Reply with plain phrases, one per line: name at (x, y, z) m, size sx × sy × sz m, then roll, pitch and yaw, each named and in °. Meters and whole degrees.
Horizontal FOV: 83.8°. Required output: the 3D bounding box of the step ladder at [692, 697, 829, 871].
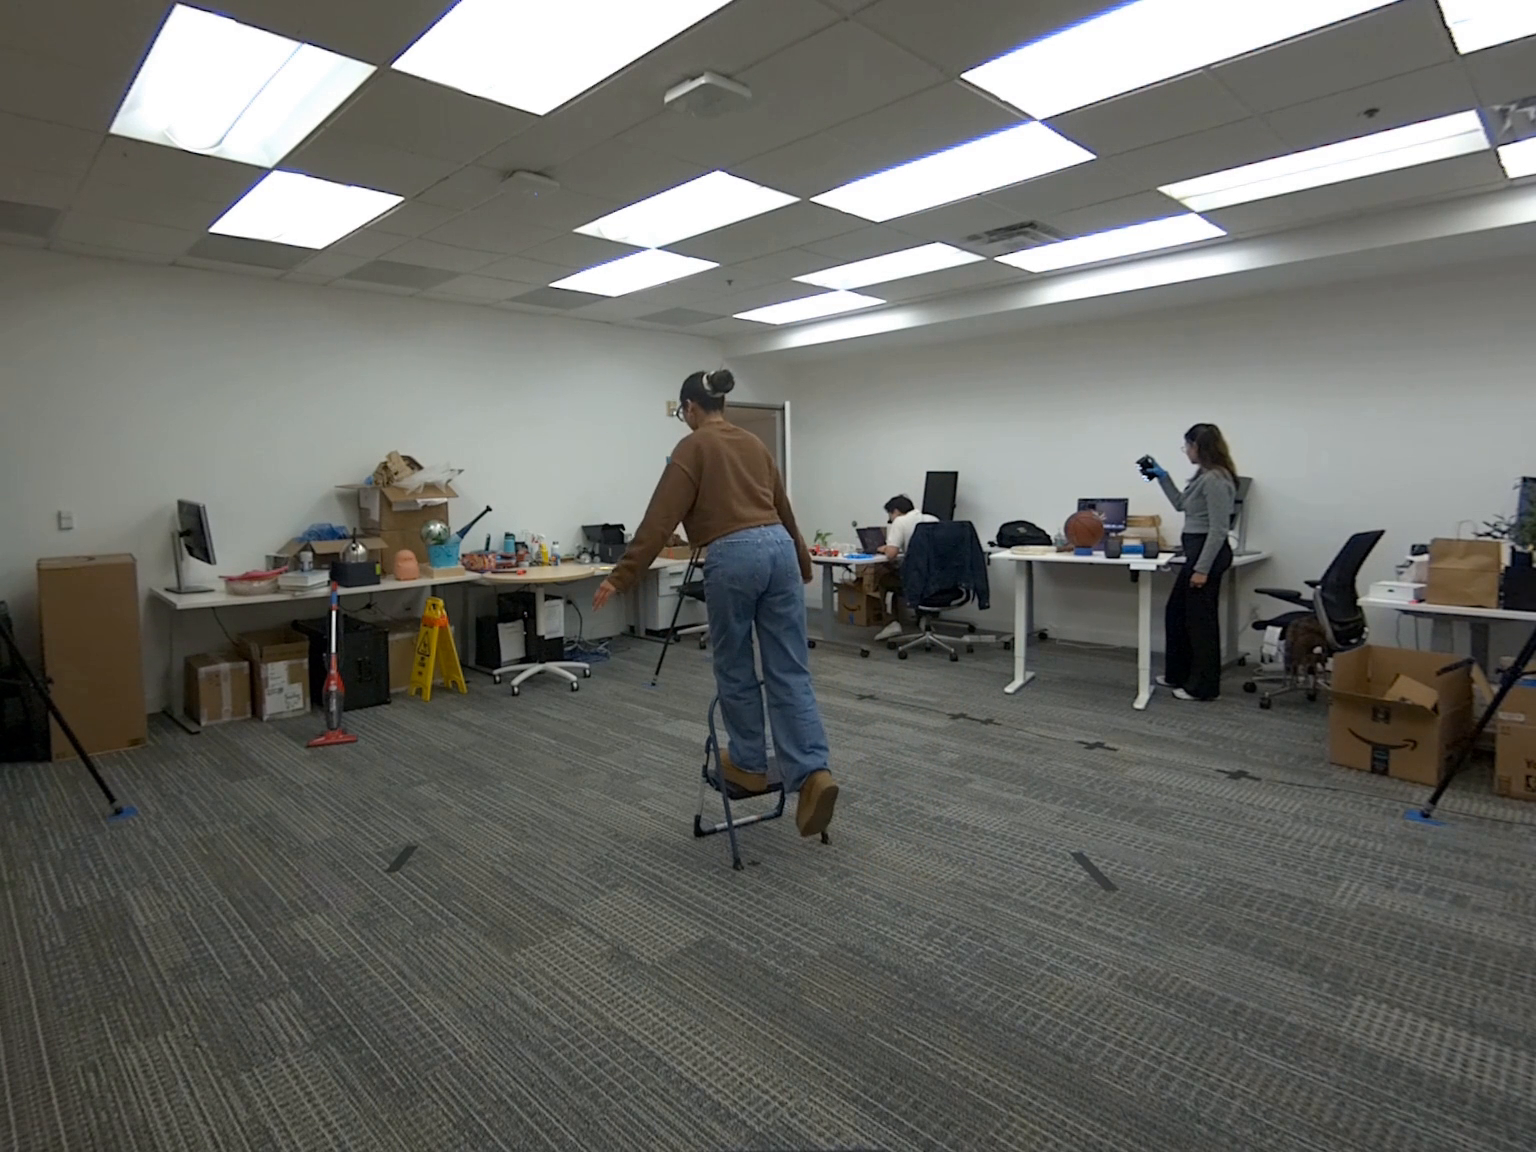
step ladder at (-0.028, 0.722, 3.293) m, size 0.420 × 0.604 × 0.359 m, roll -4°, pitch 5°, yaw -33°
